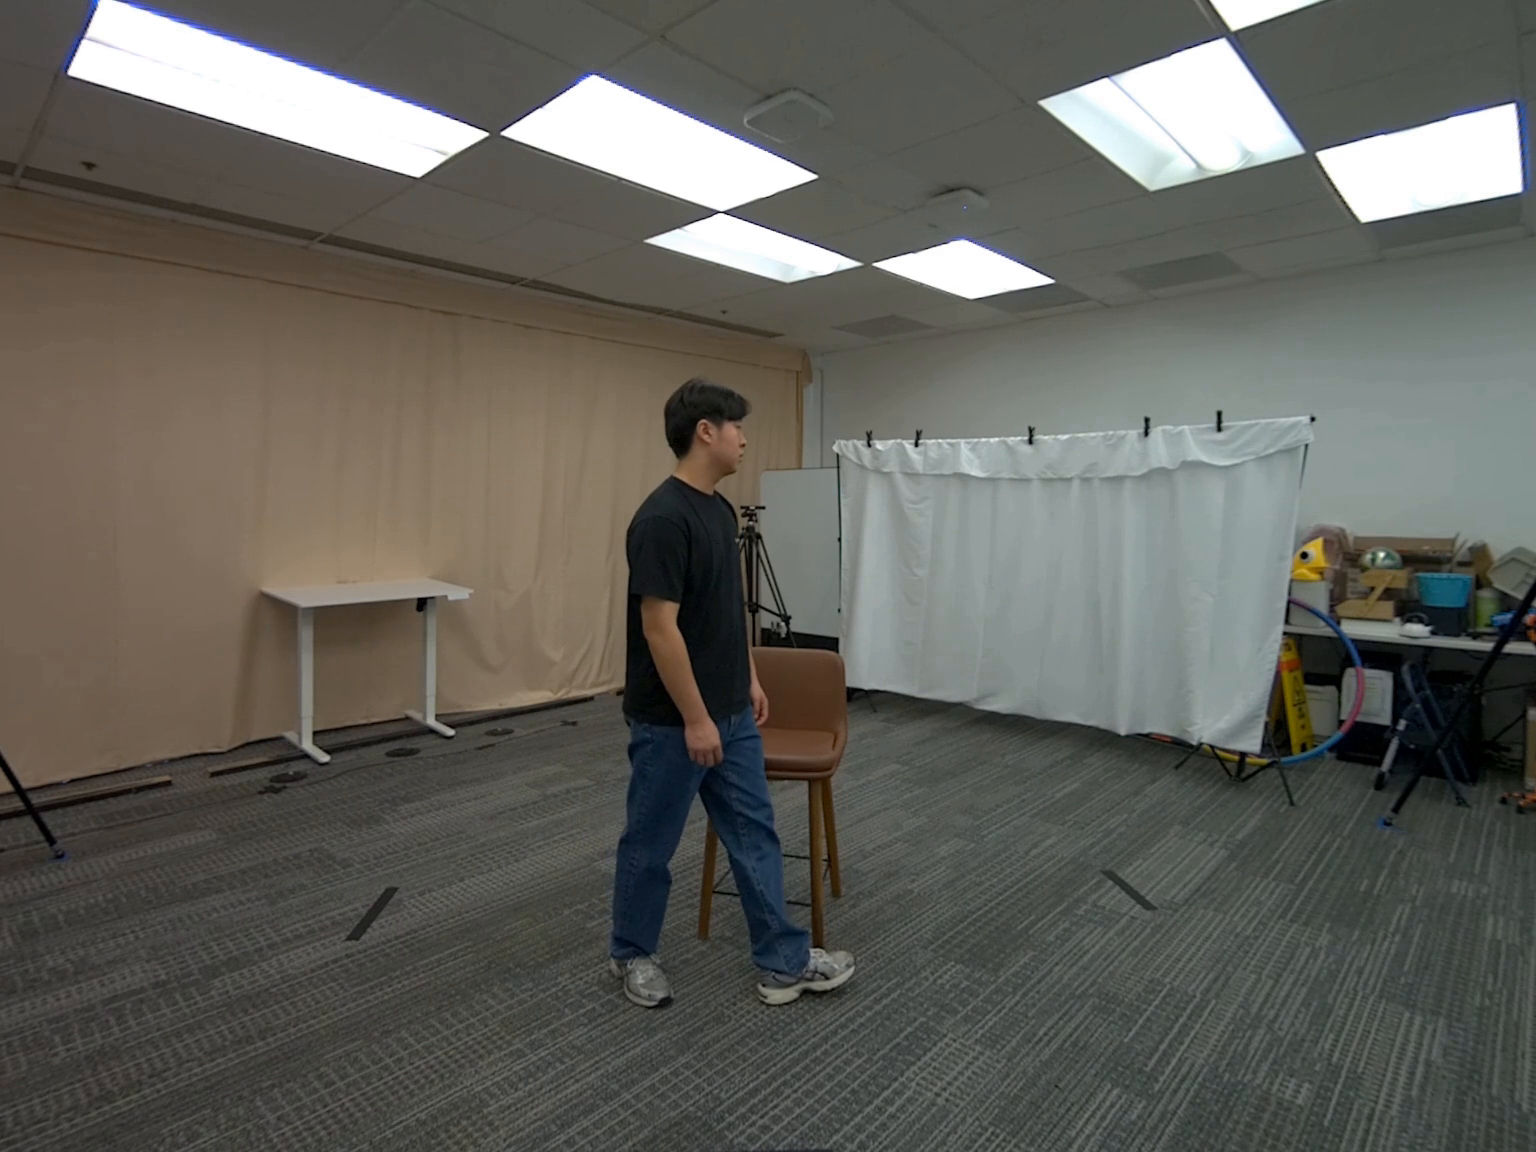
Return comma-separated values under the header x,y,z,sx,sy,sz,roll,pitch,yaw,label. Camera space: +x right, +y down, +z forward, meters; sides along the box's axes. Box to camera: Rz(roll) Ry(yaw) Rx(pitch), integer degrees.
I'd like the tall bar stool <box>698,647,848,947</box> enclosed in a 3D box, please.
x,y,z,sx,sy,sz,roll,pitch,yaw,label
0.032,0.719,2.841,0.465,0.889,0.459,2,2,17,tall bar stool
